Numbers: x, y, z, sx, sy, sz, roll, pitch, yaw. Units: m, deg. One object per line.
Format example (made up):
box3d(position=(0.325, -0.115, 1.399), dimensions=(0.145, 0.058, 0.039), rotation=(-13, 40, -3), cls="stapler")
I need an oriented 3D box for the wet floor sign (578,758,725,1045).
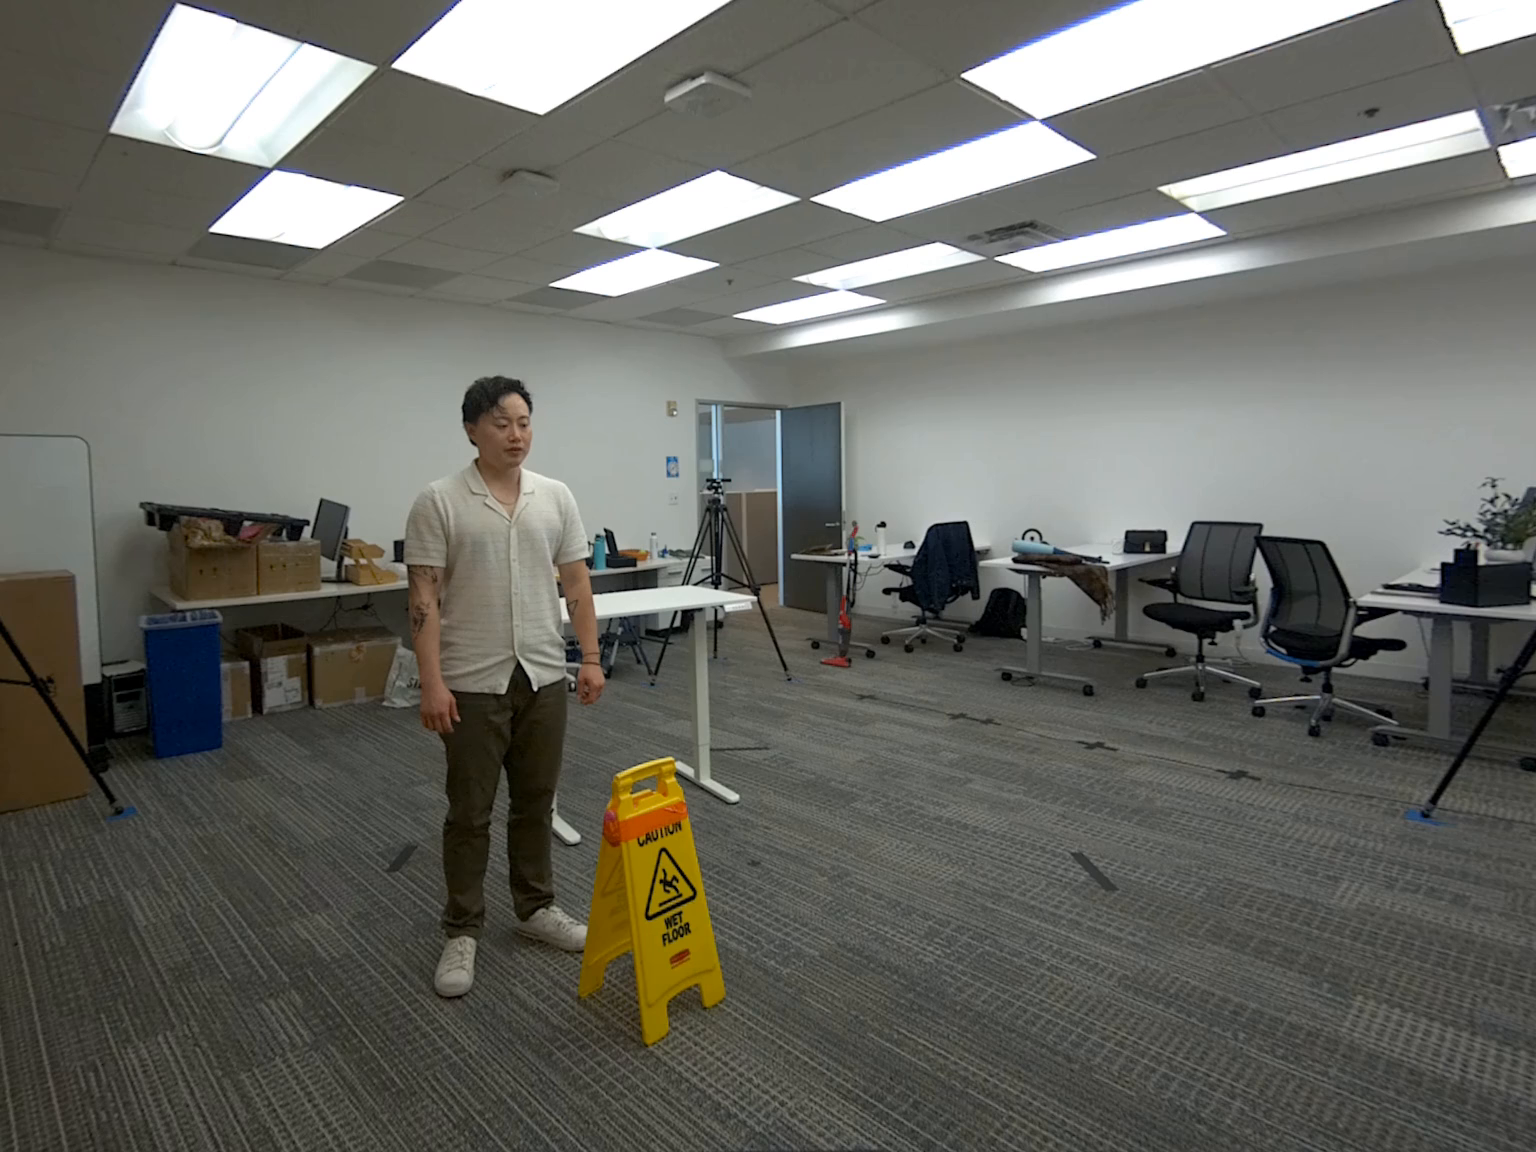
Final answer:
box3d(position=(-0.313, 0.829, 2.289), dimensions=(0.298, 0.644, 0.275), rotation=(0, 5, 44), cls="wet floor sign")
